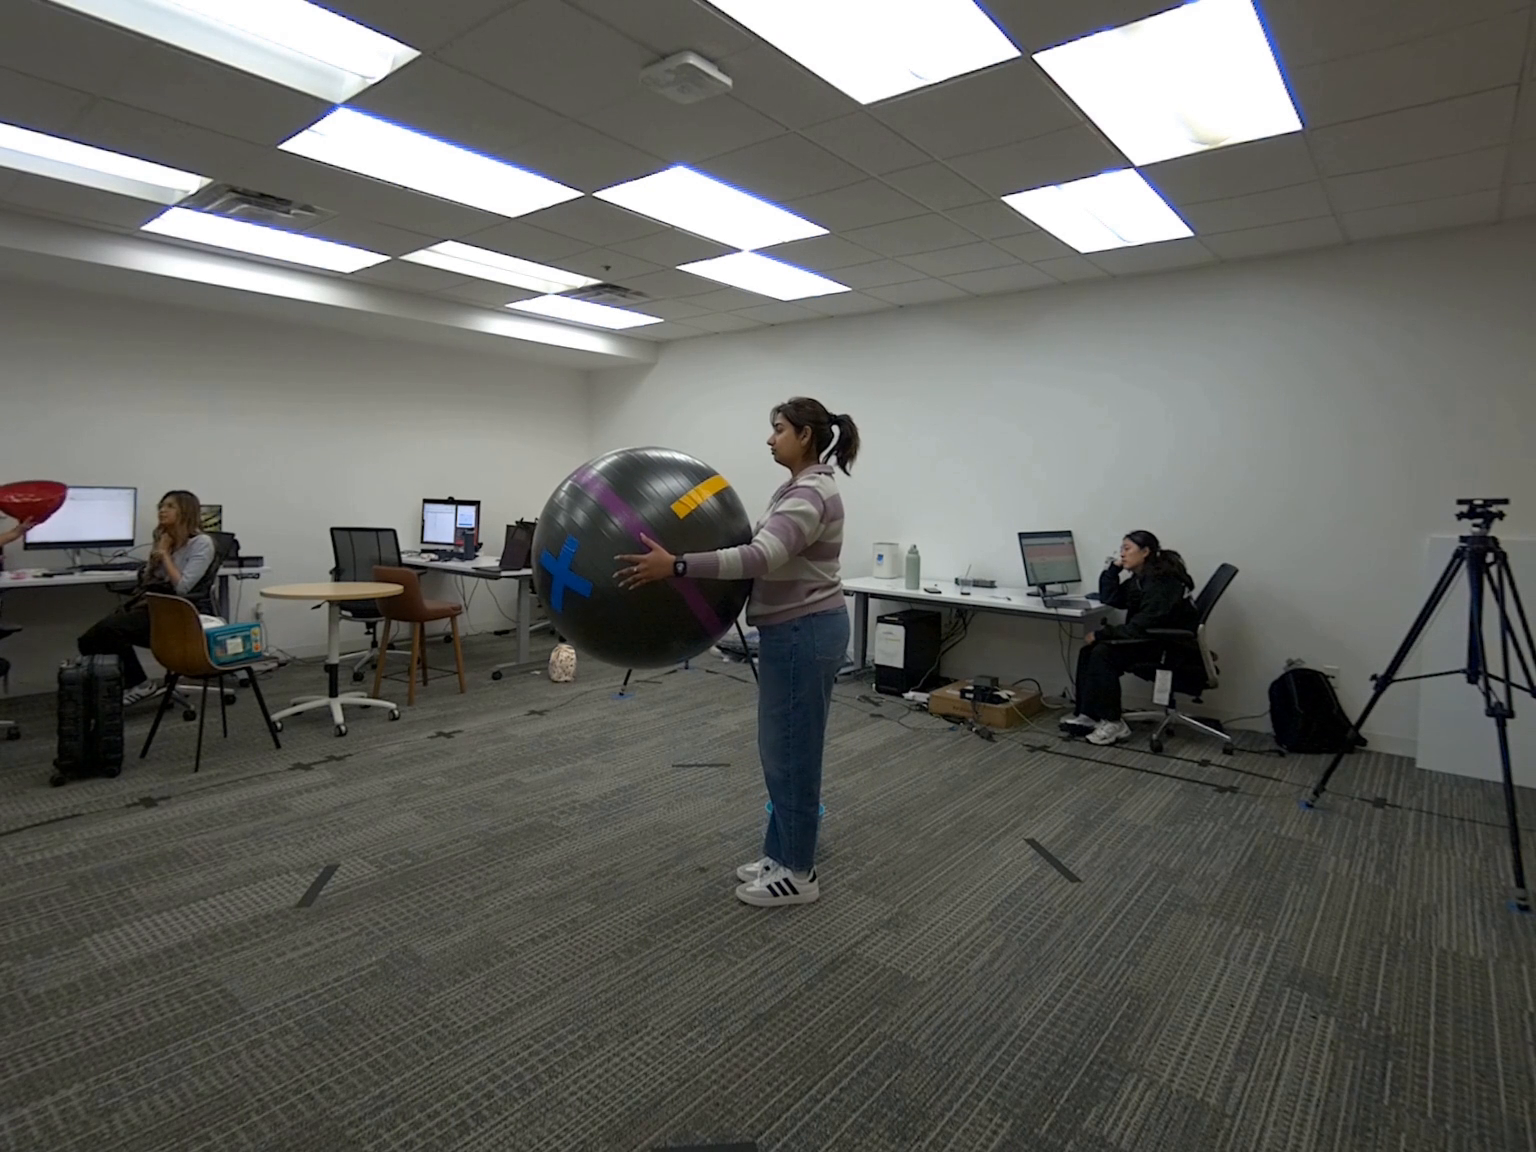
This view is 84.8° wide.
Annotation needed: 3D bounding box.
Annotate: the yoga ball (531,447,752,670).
[{"bbox_3d":[-0.442,-0.056,2.903,0.757,0.756,0.762,1,4,-2],"label":"yoga ball"}]
